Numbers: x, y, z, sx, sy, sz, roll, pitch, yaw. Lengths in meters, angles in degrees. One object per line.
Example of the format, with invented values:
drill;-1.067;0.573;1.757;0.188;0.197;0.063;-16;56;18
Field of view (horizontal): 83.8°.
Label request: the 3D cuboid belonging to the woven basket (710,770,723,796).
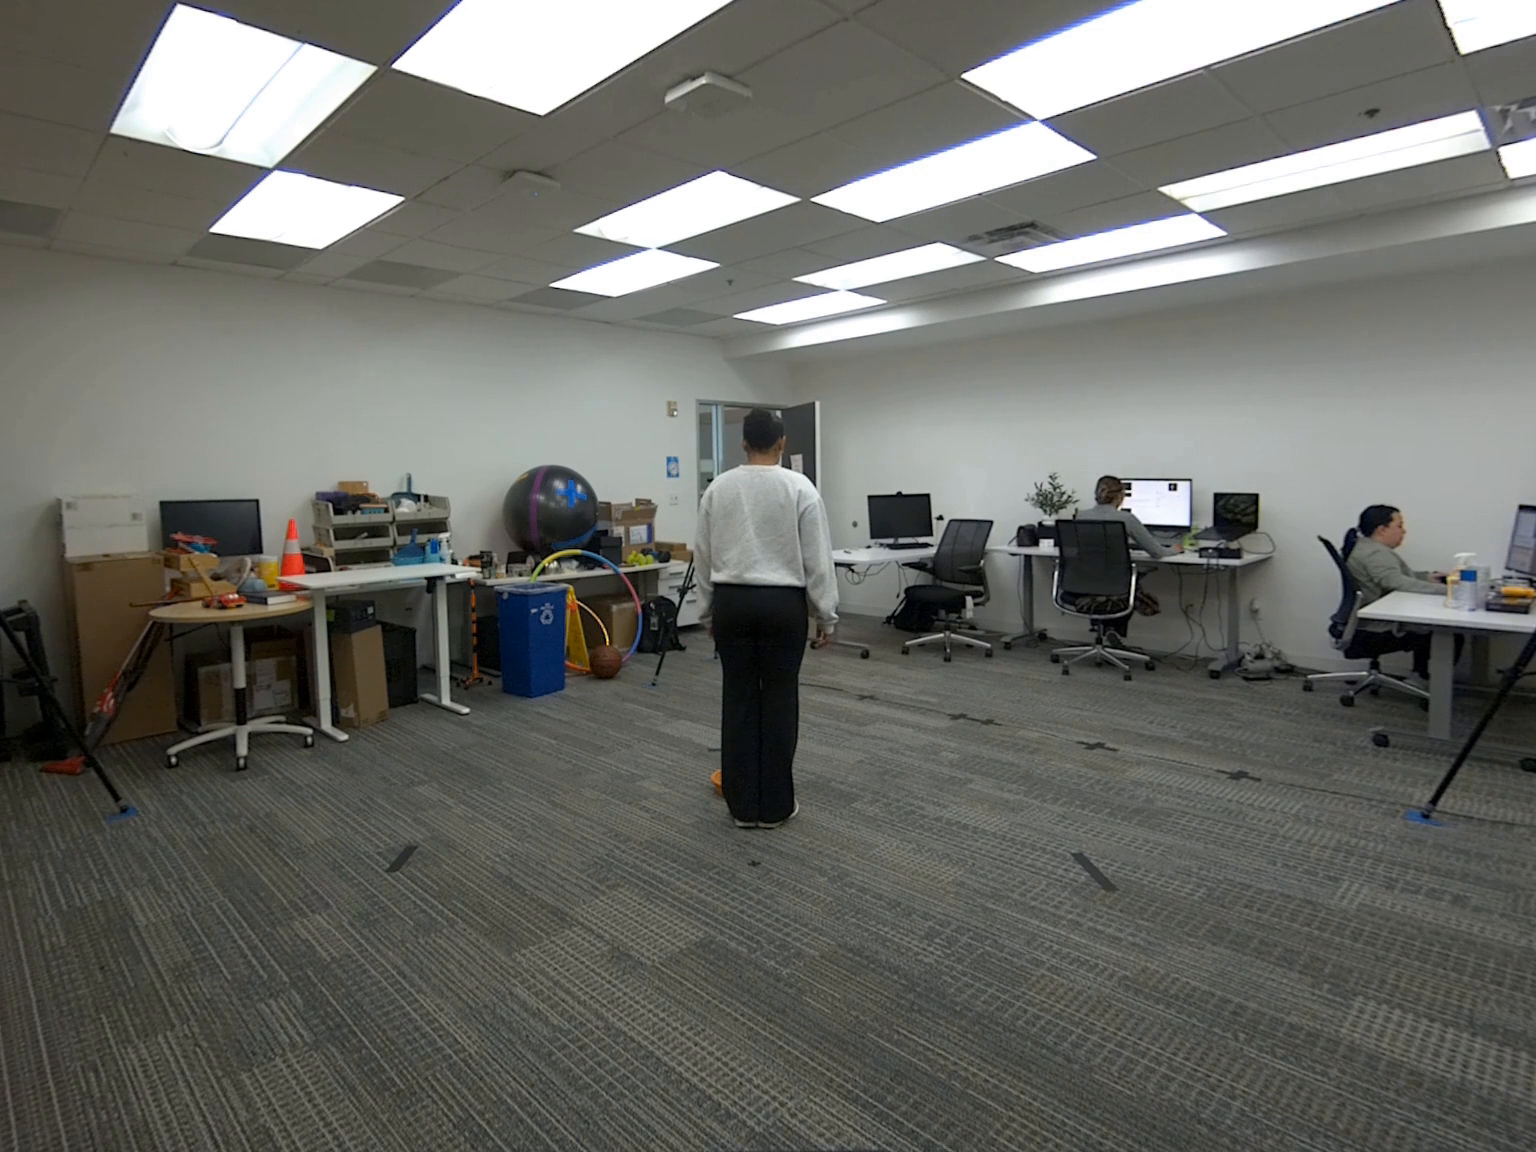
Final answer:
woven basket;-0.077;0.930;3.810;0.356;0.073;0.249;1;6;17
